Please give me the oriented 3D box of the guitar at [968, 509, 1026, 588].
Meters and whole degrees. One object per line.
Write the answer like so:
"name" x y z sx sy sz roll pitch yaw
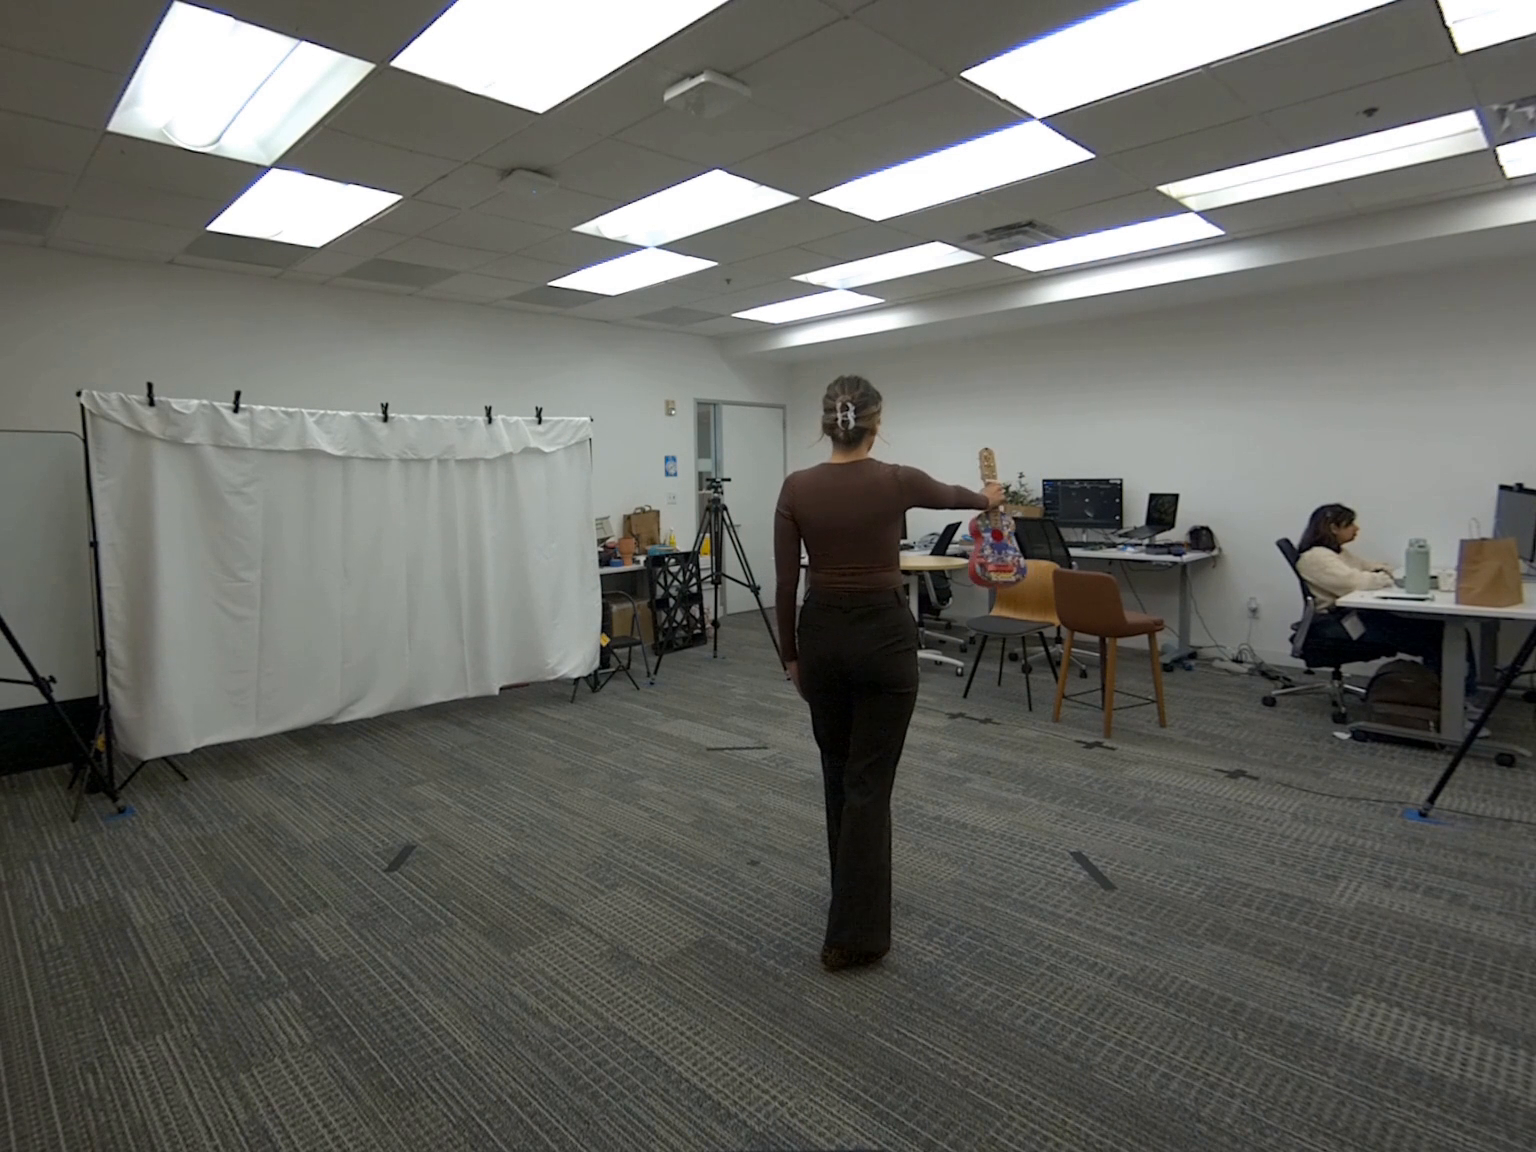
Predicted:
"guitar" 0.814 -0.204 3.010 0.191 0.505 0.070 11 -19 -8
